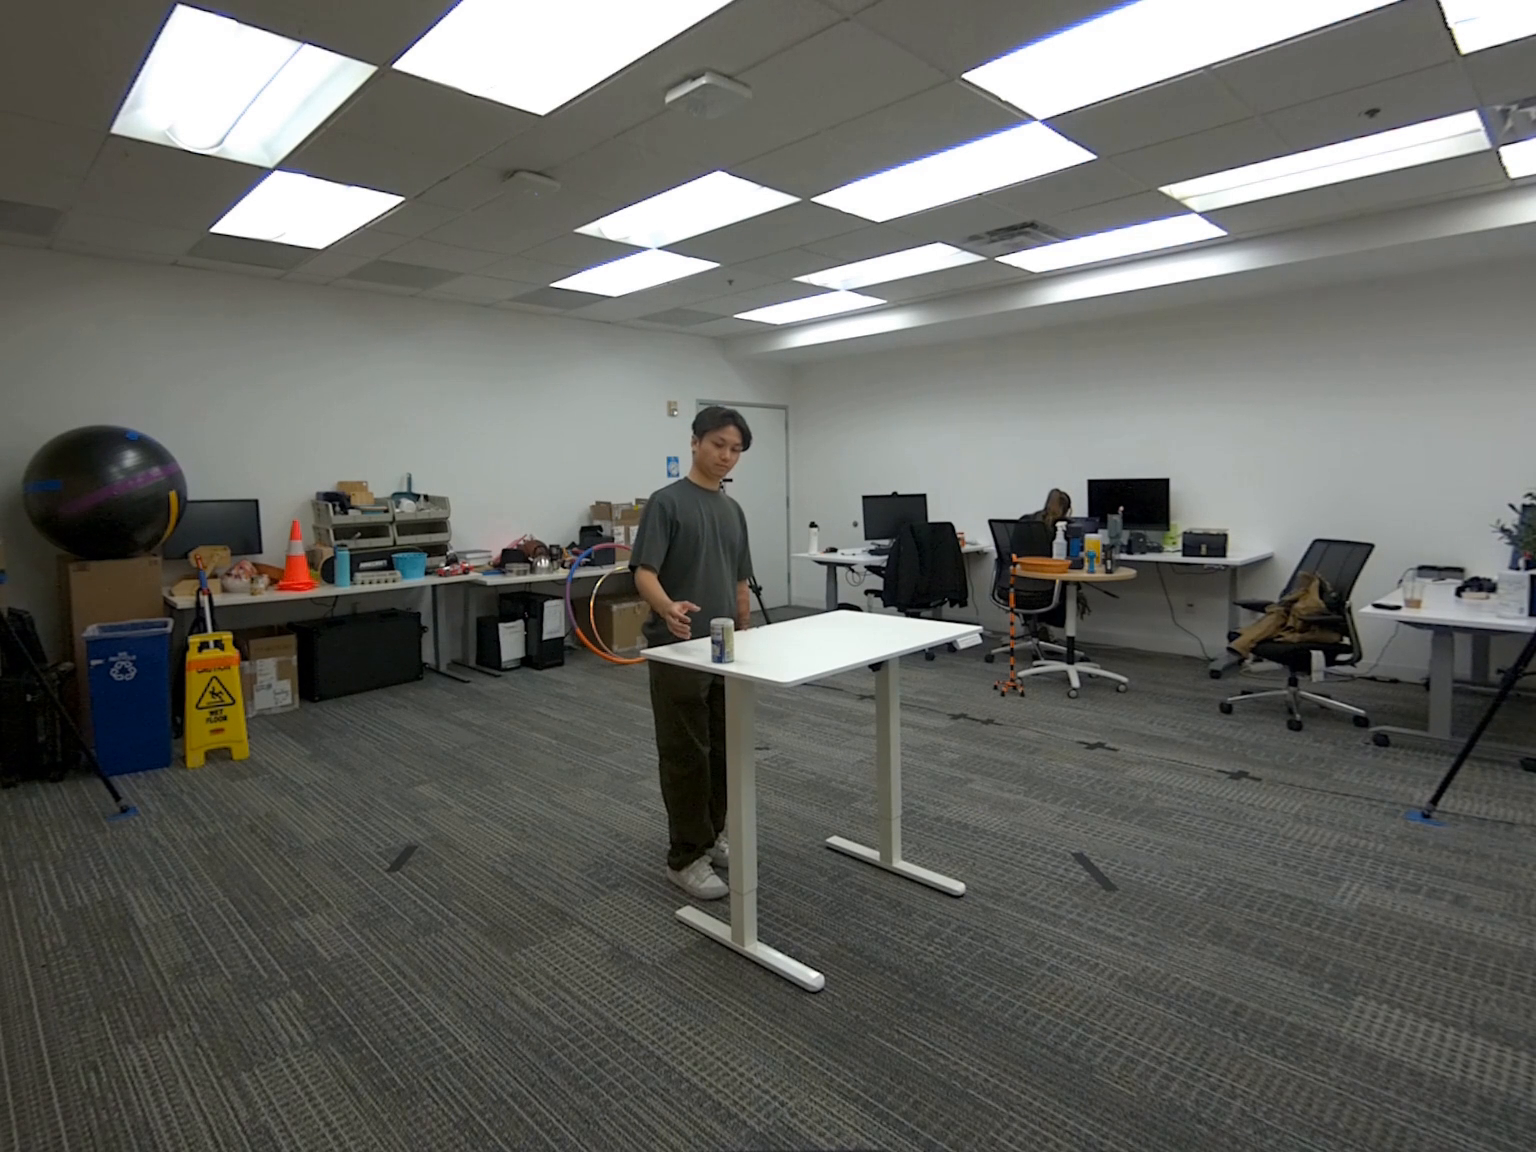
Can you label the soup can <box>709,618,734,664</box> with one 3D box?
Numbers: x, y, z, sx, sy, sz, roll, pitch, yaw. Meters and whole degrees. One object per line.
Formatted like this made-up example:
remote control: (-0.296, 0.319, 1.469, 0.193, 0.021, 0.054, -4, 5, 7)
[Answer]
soup can: (-0.129, 0.190, 2.436, 0.067, 0.121, 0.067, -5, 3, -1)
